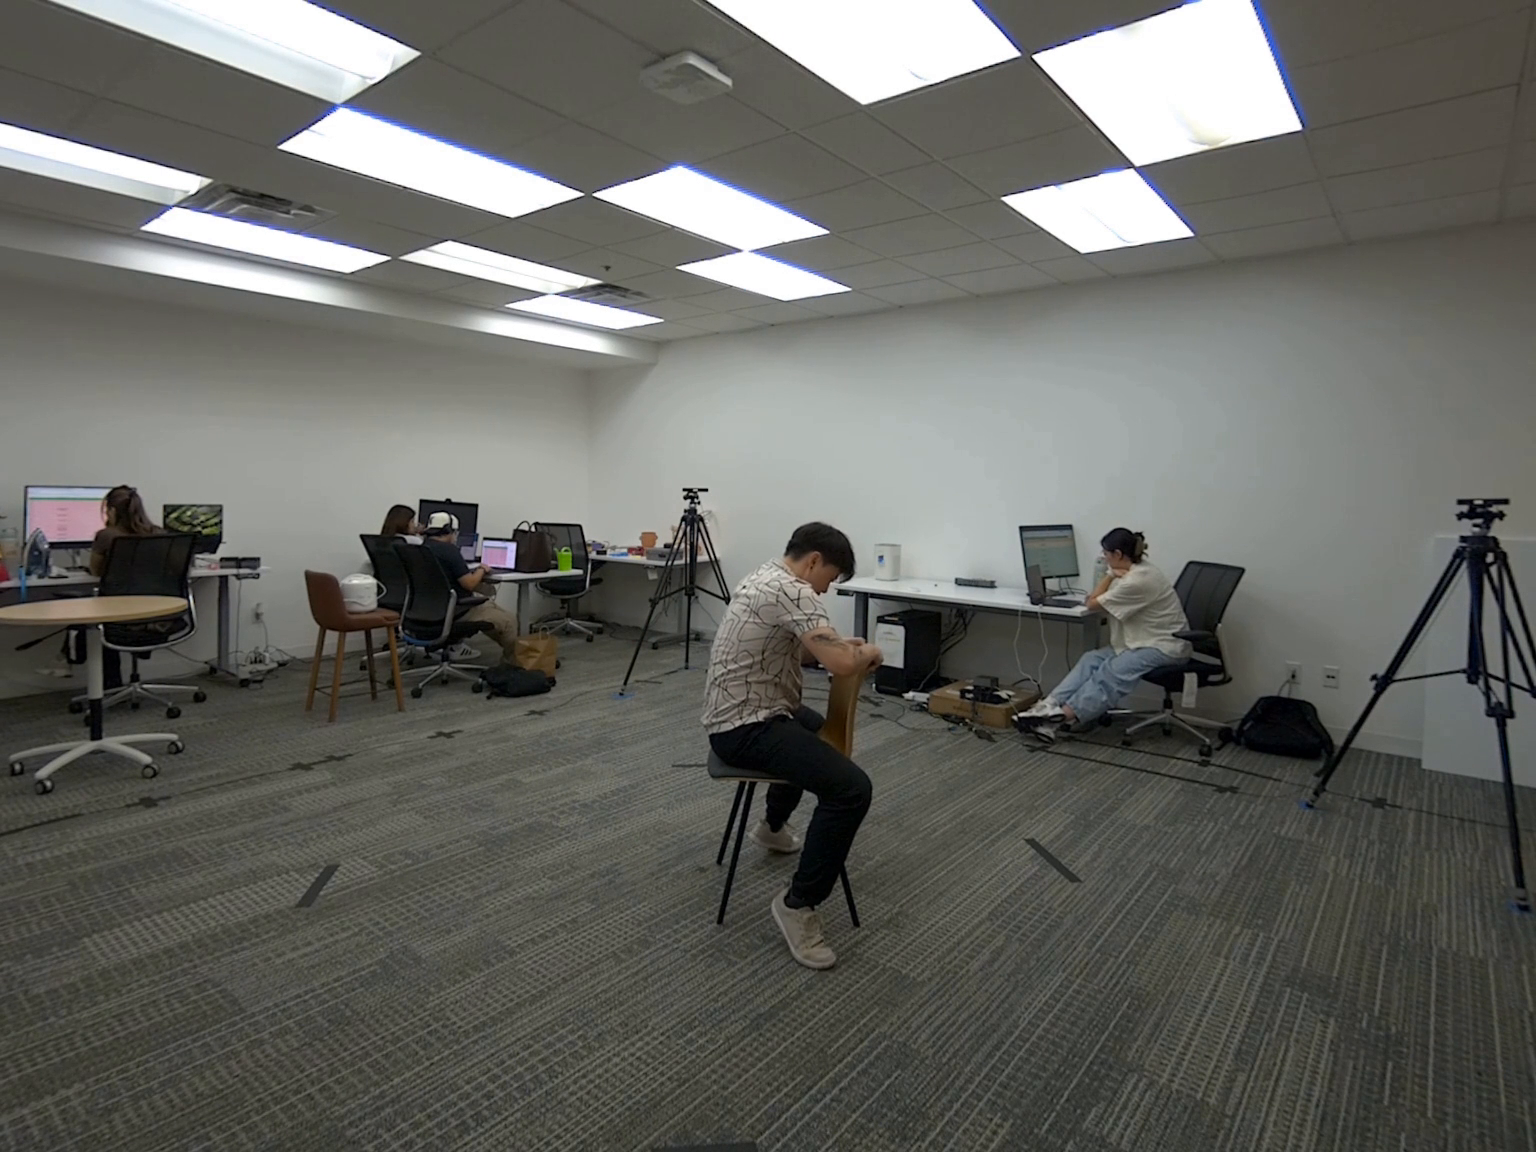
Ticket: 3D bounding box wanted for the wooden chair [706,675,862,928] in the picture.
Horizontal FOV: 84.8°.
[{"bbox_3d":[0.045,0.674,2.909,0.522,0.875,0.480,6,3,-3],"label":"wooden chair"}]
